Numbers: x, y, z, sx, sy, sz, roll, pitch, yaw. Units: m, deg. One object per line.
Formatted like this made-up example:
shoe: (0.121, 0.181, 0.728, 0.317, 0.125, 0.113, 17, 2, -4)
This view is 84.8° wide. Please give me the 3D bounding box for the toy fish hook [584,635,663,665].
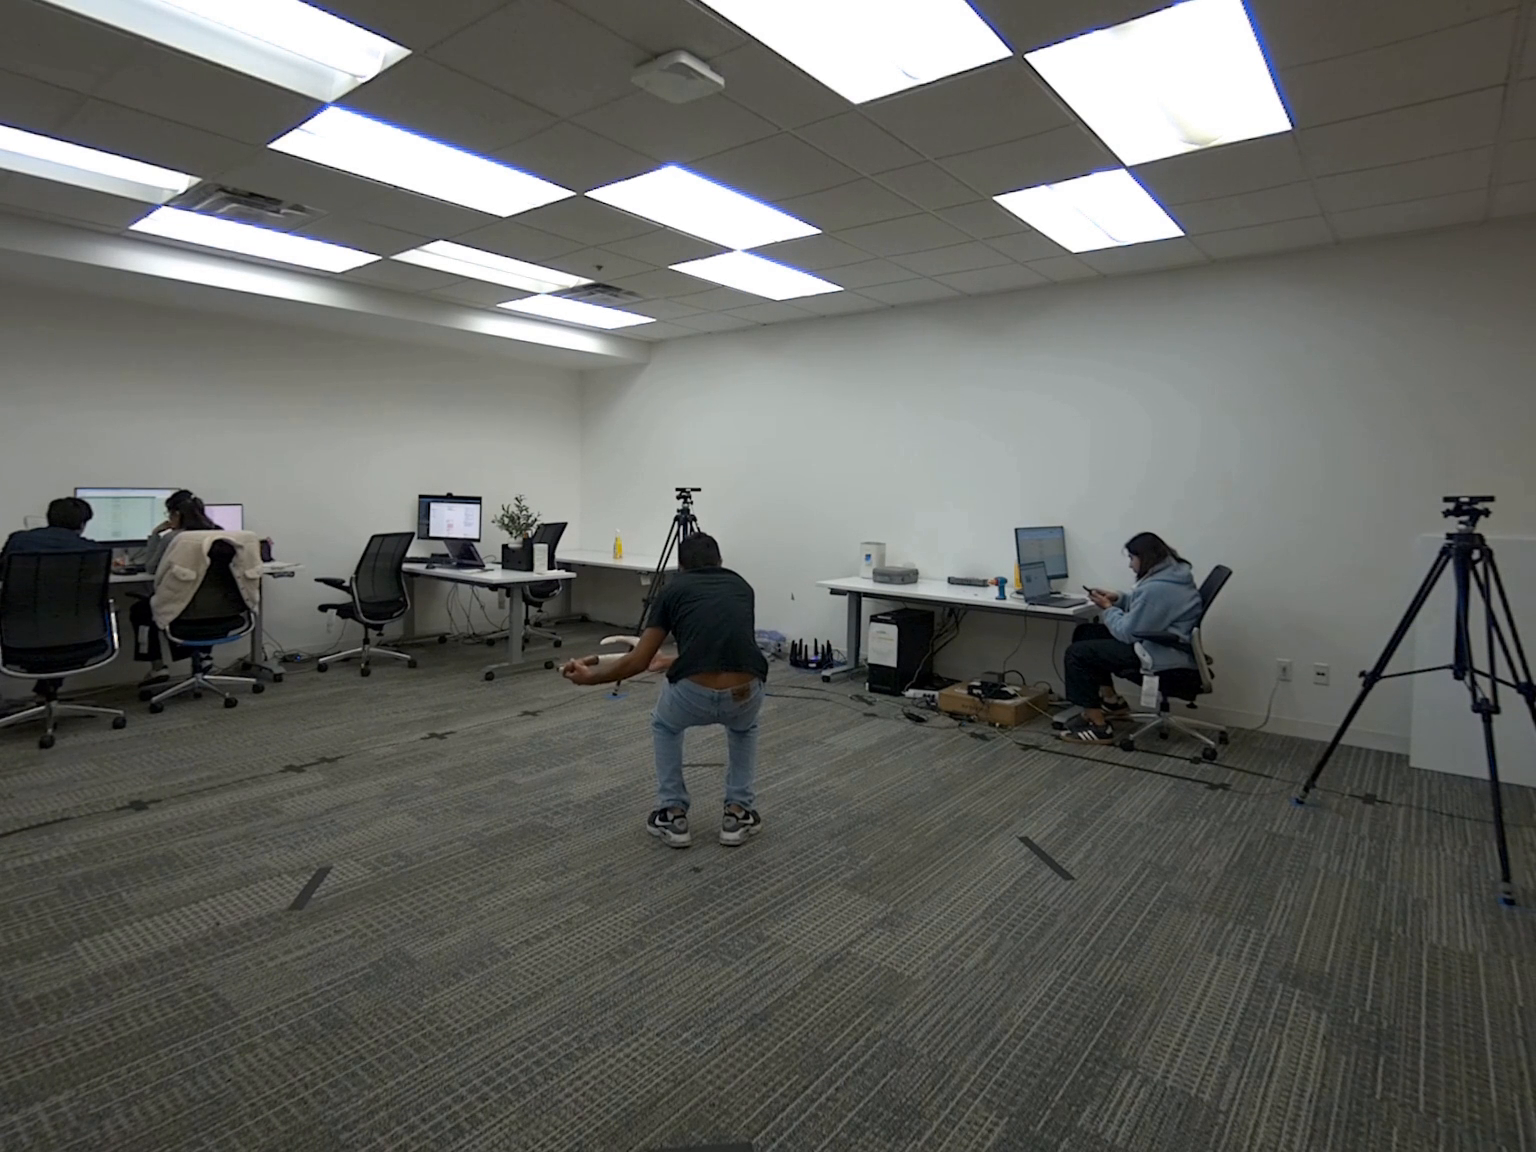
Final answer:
toy fish hook: (-0.733, 0.341, 3.749, 0.493, 0.047, 0.234, -10, 24, -42)
